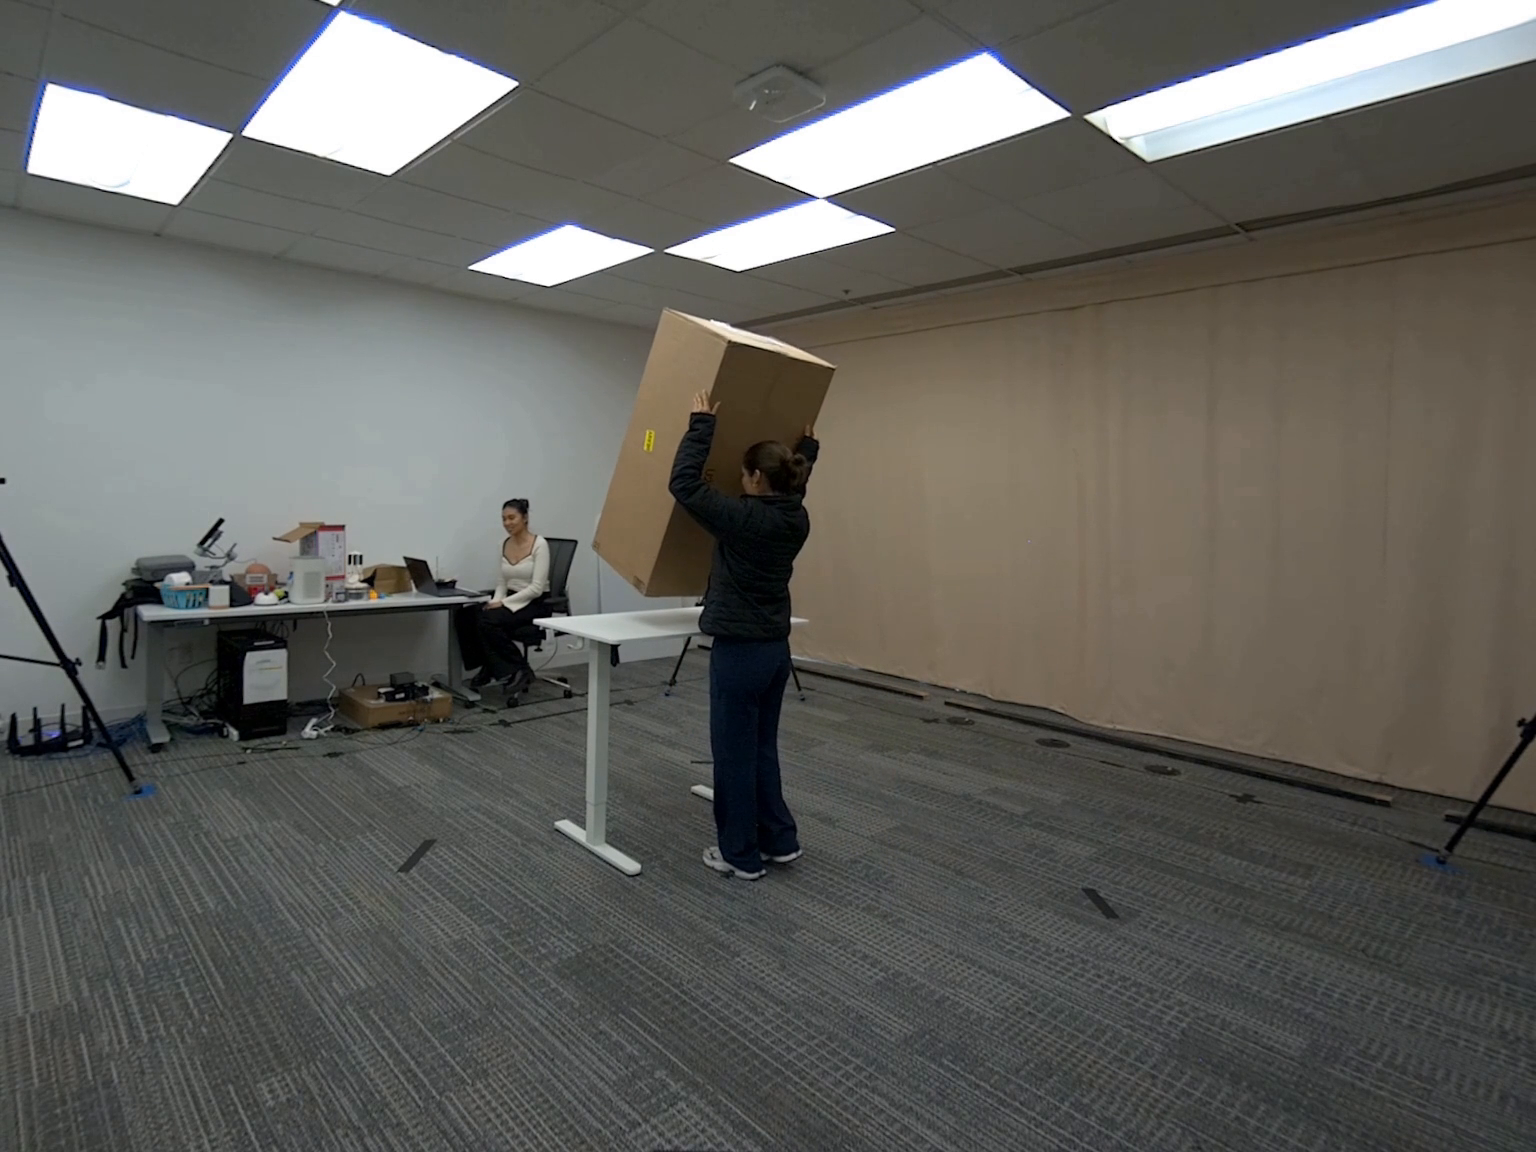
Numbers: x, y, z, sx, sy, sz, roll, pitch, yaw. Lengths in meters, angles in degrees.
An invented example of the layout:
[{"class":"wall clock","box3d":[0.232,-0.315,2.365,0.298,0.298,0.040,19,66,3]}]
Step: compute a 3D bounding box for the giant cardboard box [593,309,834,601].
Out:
[{"class":"giant cardboard box","box3d":[-0.236,-0.461,3.374,0.569,1.019,0.461,2,25,-43]}]
